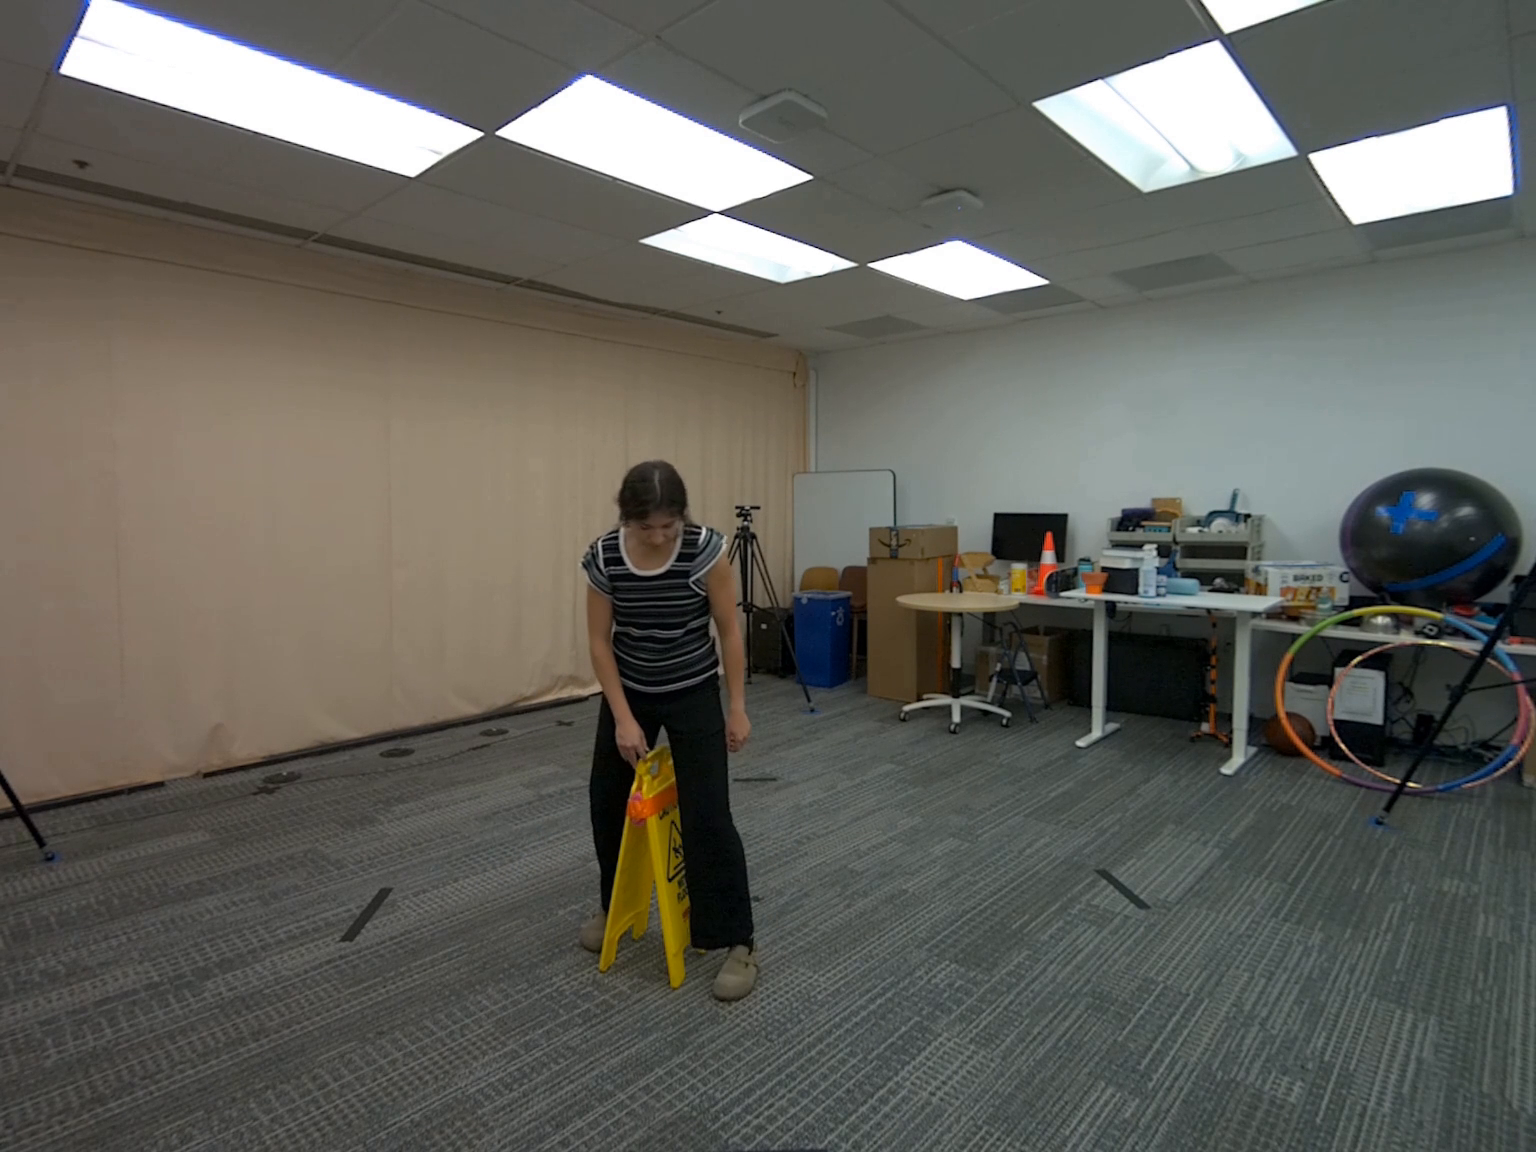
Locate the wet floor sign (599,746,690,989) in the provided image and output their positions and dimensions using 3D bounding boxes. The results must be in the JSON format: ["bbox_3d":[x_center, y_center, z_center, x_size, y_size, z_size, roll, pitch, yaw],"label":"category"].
[{"bbox_3d":[-0.341,0.852,2.583,0.296,0.646,0.276,-1,1,19],"label":"wet floor sign"}]
